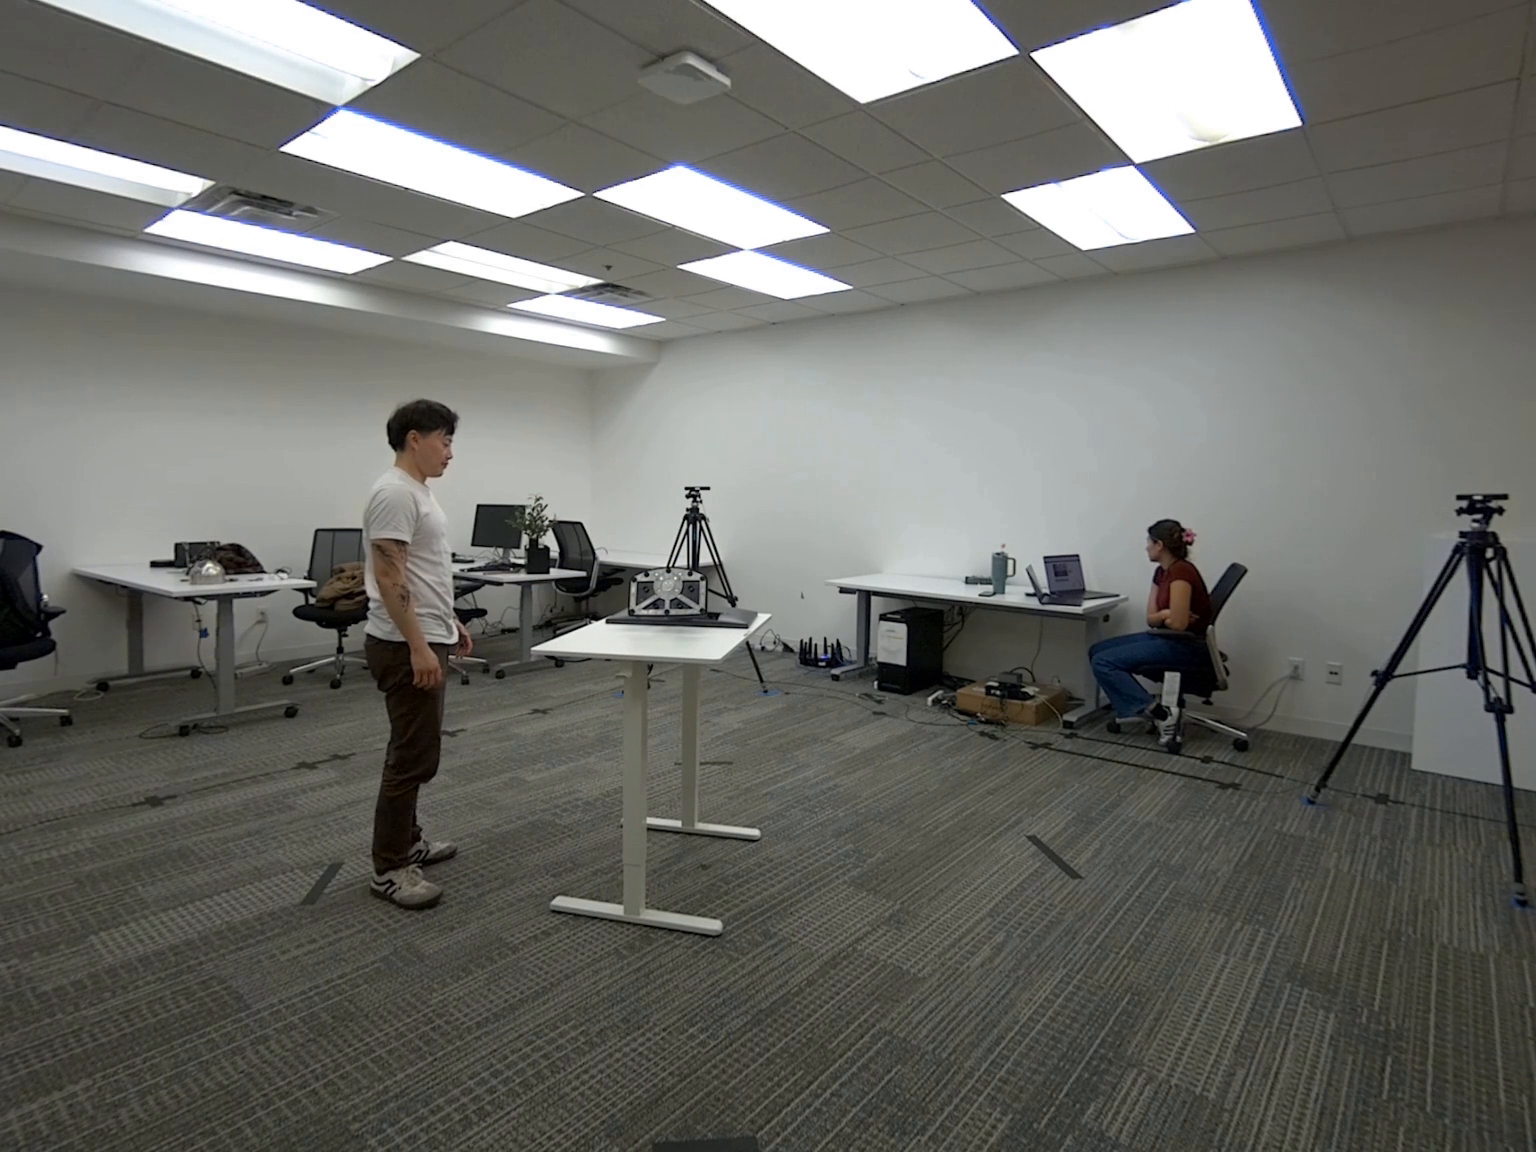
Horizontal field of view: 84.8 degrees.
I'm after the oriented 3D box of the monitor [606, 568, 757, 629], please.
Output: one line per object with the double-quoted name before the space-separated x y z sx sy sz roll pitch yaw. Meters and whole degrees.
"monitor" -0.343 0.113 3.203 0.545 0.189 0.511 3 -14 8
